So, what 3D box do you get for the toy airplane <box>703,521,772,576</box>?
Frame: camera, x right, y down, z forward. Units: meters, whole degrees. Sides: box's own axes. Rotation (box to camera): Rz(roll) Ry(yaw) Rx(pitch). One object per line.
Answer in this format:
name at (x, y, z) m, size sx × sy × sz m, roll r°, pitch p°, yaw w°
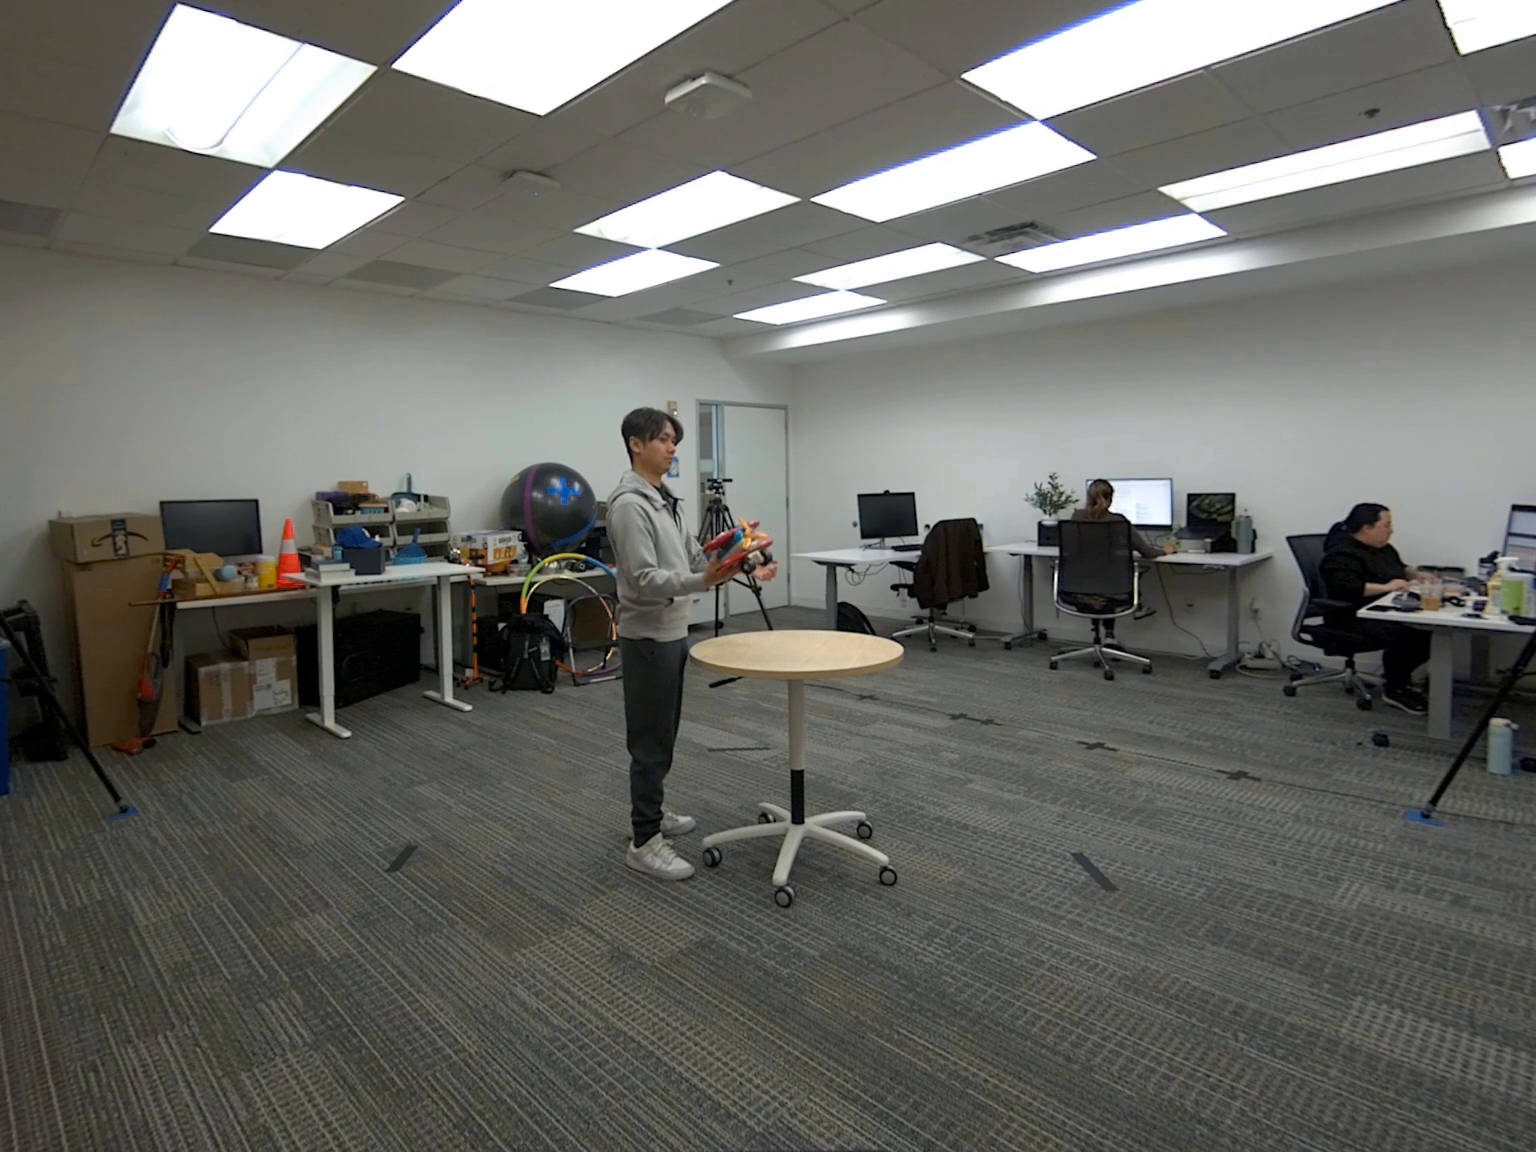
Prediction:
toy airplane at (-0.126, -0.068, 2.848) m, size 0.261 × 0.156 × 0.249 m, roll -23°, pitch 4°, yaw 17°
